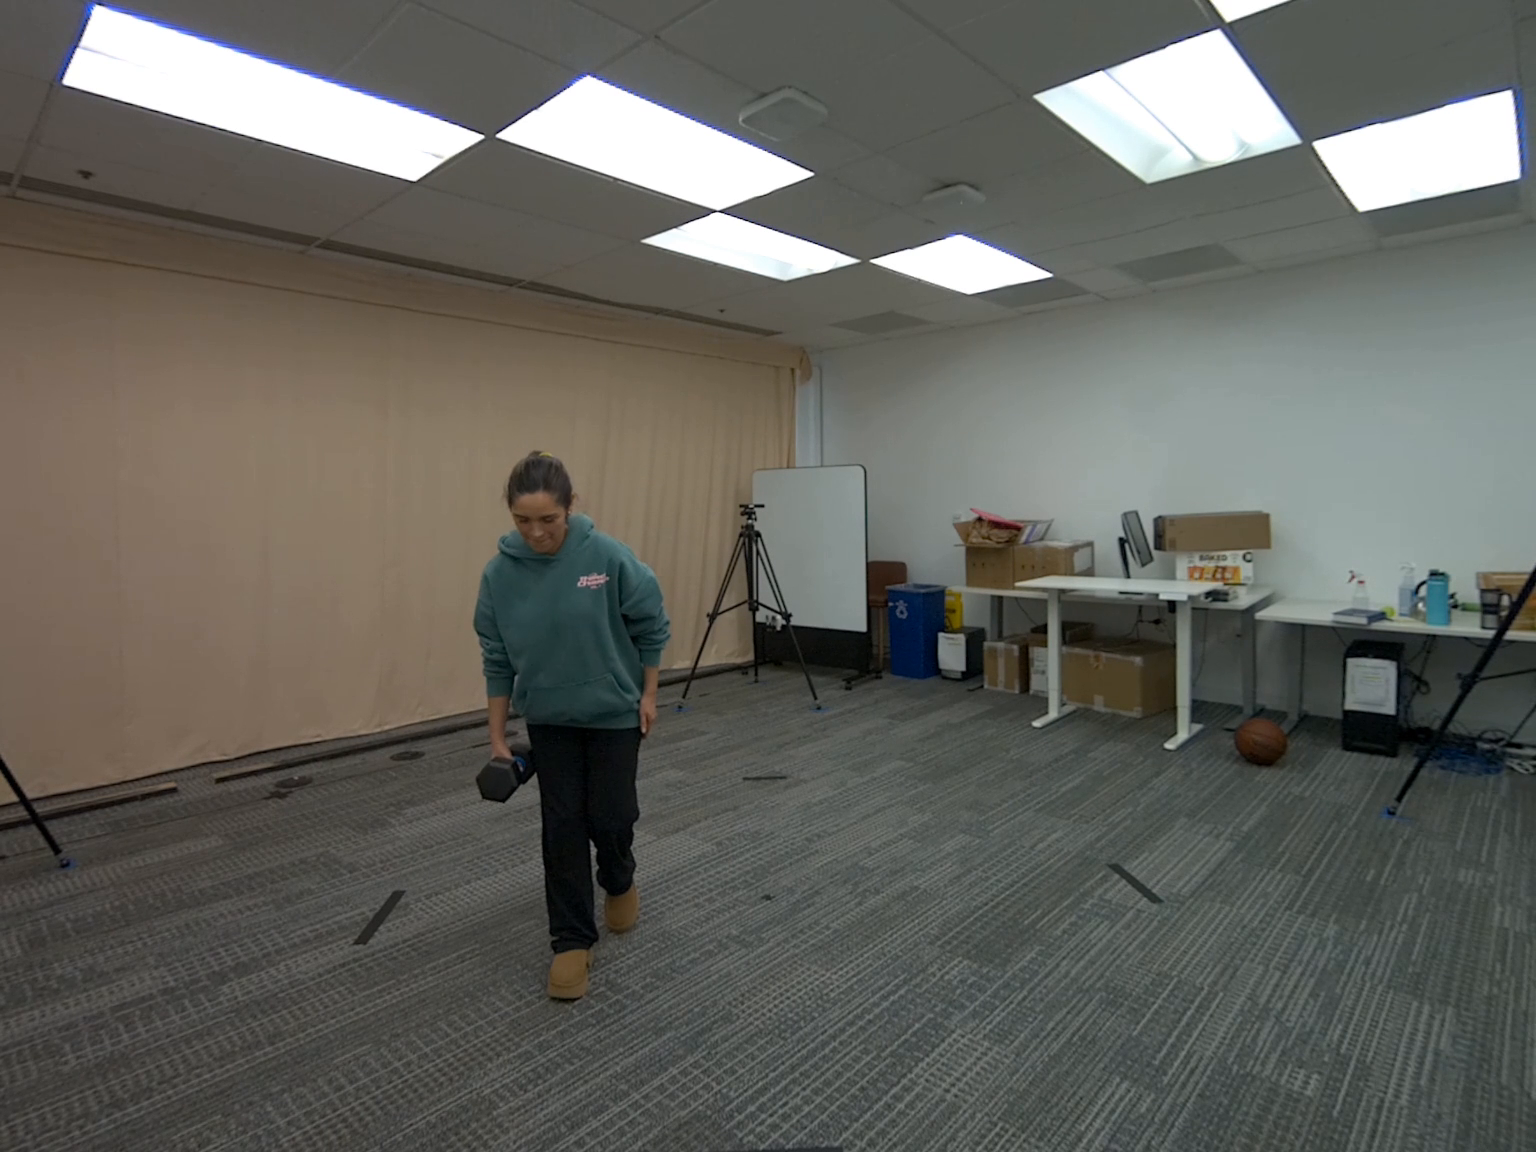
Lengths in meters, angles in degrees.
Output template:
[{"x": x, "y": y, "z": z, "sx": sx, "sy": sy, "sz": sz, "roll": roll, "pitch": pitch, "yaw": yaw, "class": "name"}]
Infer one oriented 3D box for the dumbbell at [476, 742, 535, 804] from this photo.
[{"x": -0.747, "y": 0.569, "z": 2.432, "sx": 0.109, "sy": 0.123, "sz": 0.293, "roll": -20, "pitch": -1, "yaw": -1, "class": "dumbbell"}]
